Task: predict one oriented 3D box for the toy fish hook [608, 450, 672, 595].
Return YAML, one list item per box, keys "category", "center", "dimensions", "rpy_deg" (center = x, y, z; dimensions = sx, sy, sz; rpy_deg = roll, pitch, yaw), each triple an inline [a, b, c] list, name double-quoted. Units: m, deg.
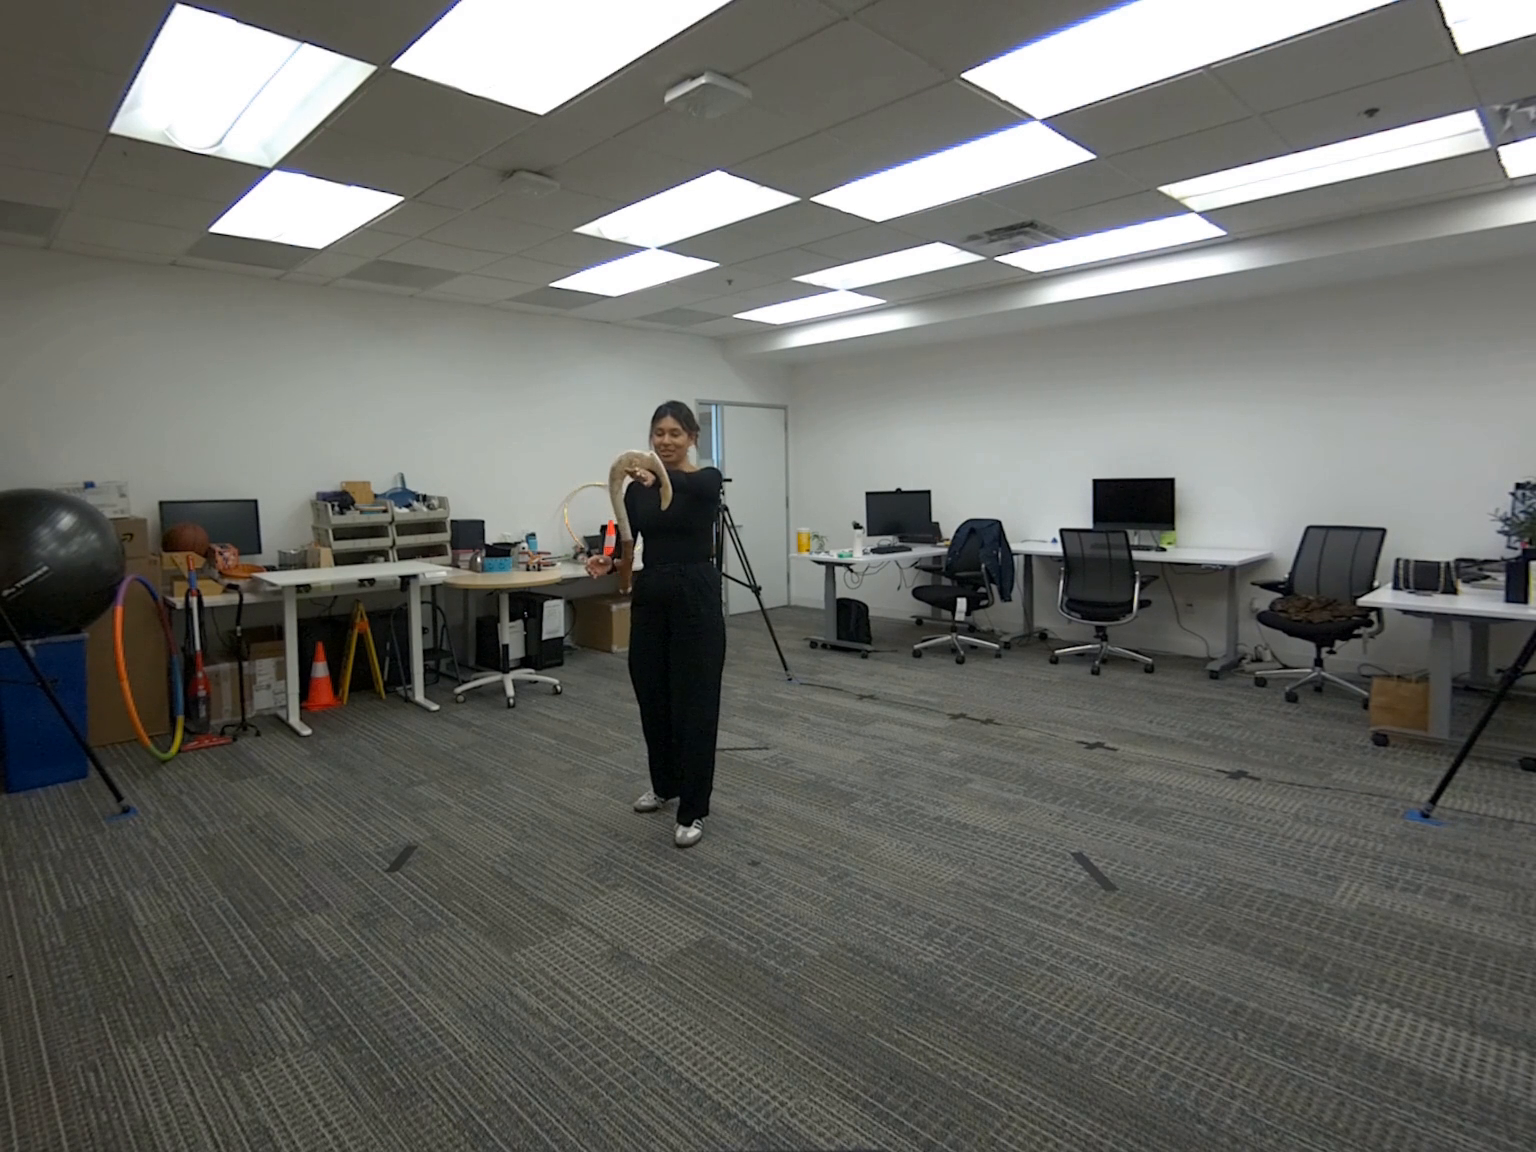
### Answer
- category: "toy fish hook"
  center: [-0.431, -0.167, 2.909]
  dimensions: [0.228, 0.500, 0.048]
  rpy_deg: [6, 15, 16]
